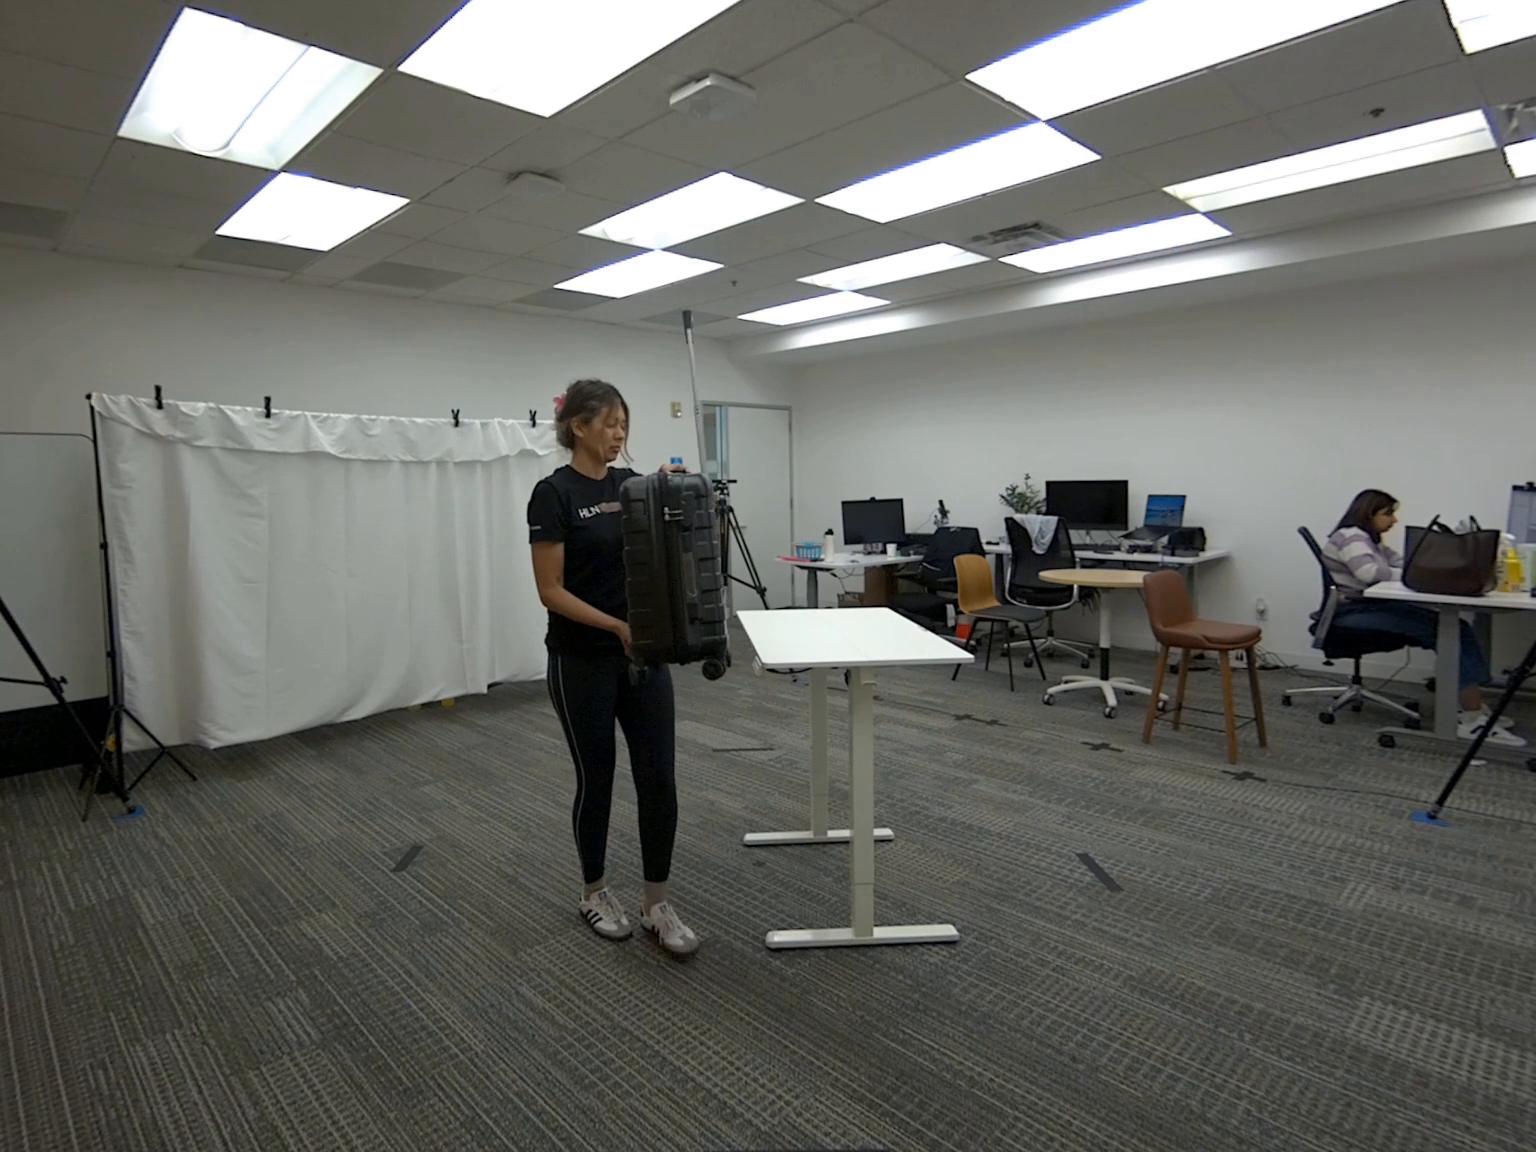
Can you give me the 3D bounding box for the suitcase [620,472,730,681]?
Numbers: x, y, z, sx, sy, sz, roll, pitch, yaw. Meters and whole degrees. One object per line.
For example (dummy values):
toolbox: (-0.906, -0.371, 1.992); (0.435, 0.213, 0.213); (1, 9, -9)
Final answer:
suitcase: (-0.271, -0.213, 2.334); (0.257, 0.981, 0.383); (-7, -2, 0)
